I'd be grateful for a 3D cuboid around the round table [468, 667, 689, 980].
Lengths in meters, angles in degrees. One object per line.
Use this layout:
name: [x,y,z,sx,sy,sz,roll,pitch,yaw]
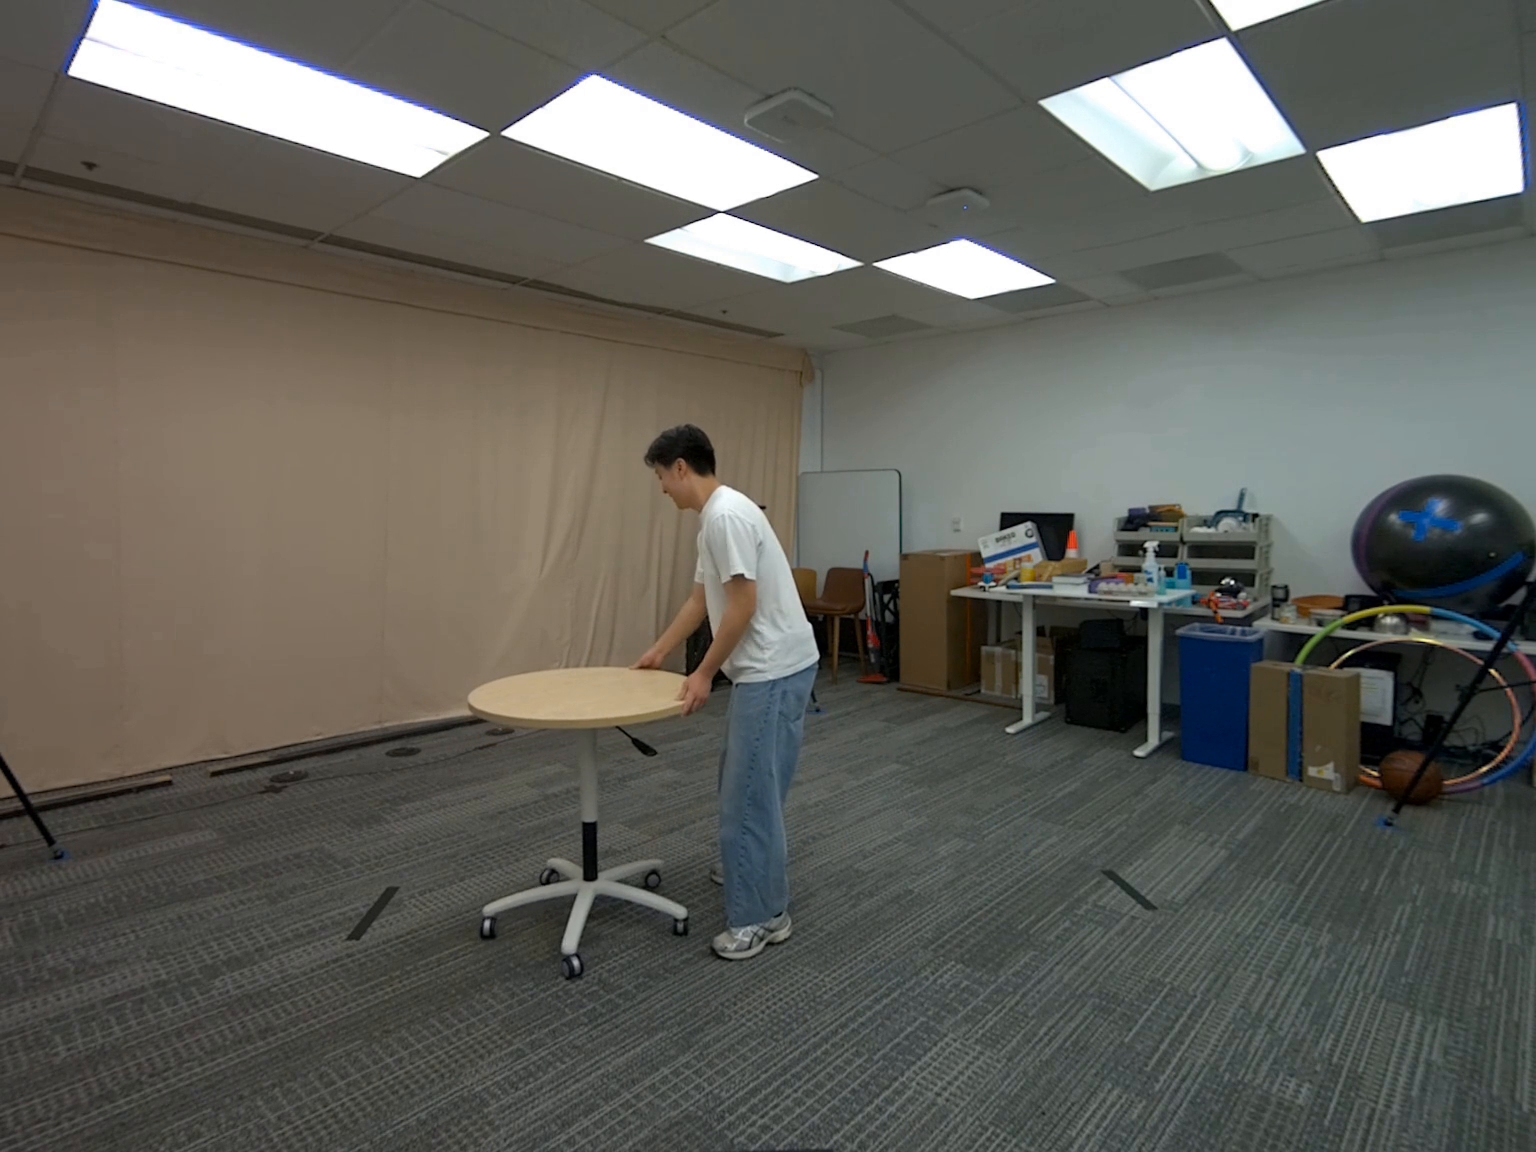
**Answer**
round table: [-0.601,0.774,2.806,0.784,0.785,0.788,0,3,-2]
